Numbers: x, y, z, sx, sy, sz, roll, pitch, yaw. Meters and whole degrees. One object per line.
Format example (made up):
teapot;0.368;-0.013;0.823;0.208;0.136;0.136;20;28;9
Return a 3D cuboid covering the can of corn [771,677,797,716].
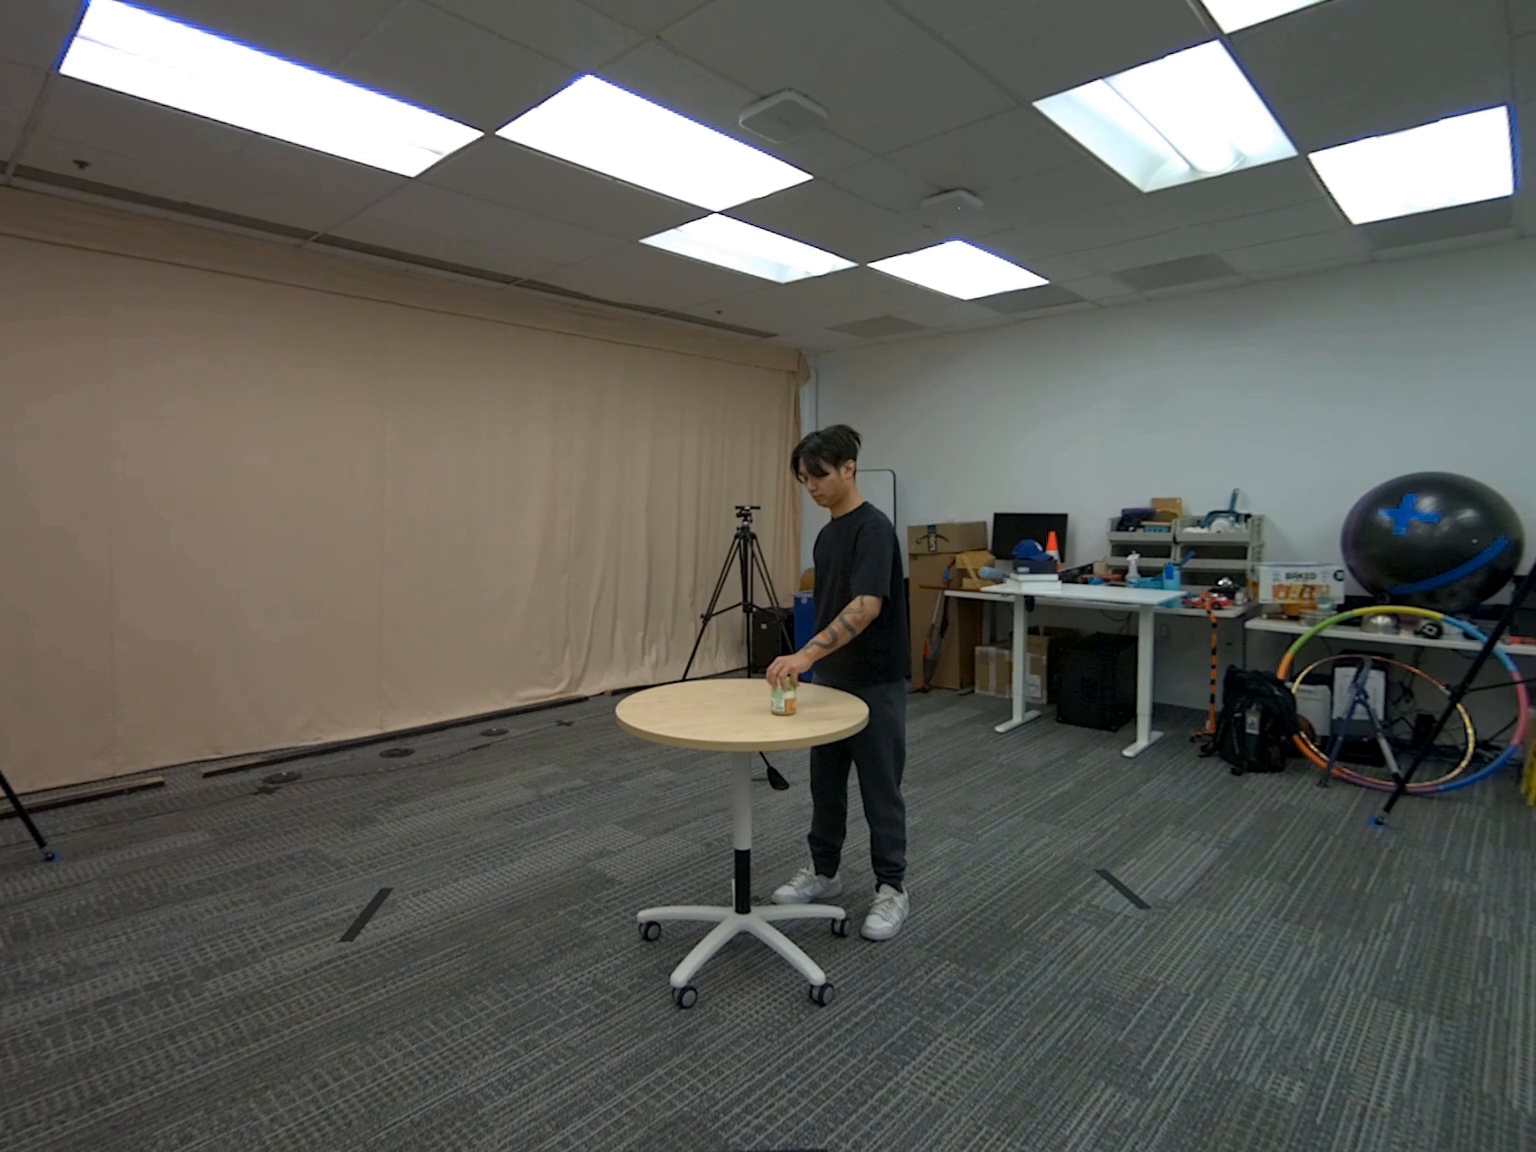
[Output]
can of corn;0.057;0.344;2.469;0.074;0.111;0.074;3;2;-2
